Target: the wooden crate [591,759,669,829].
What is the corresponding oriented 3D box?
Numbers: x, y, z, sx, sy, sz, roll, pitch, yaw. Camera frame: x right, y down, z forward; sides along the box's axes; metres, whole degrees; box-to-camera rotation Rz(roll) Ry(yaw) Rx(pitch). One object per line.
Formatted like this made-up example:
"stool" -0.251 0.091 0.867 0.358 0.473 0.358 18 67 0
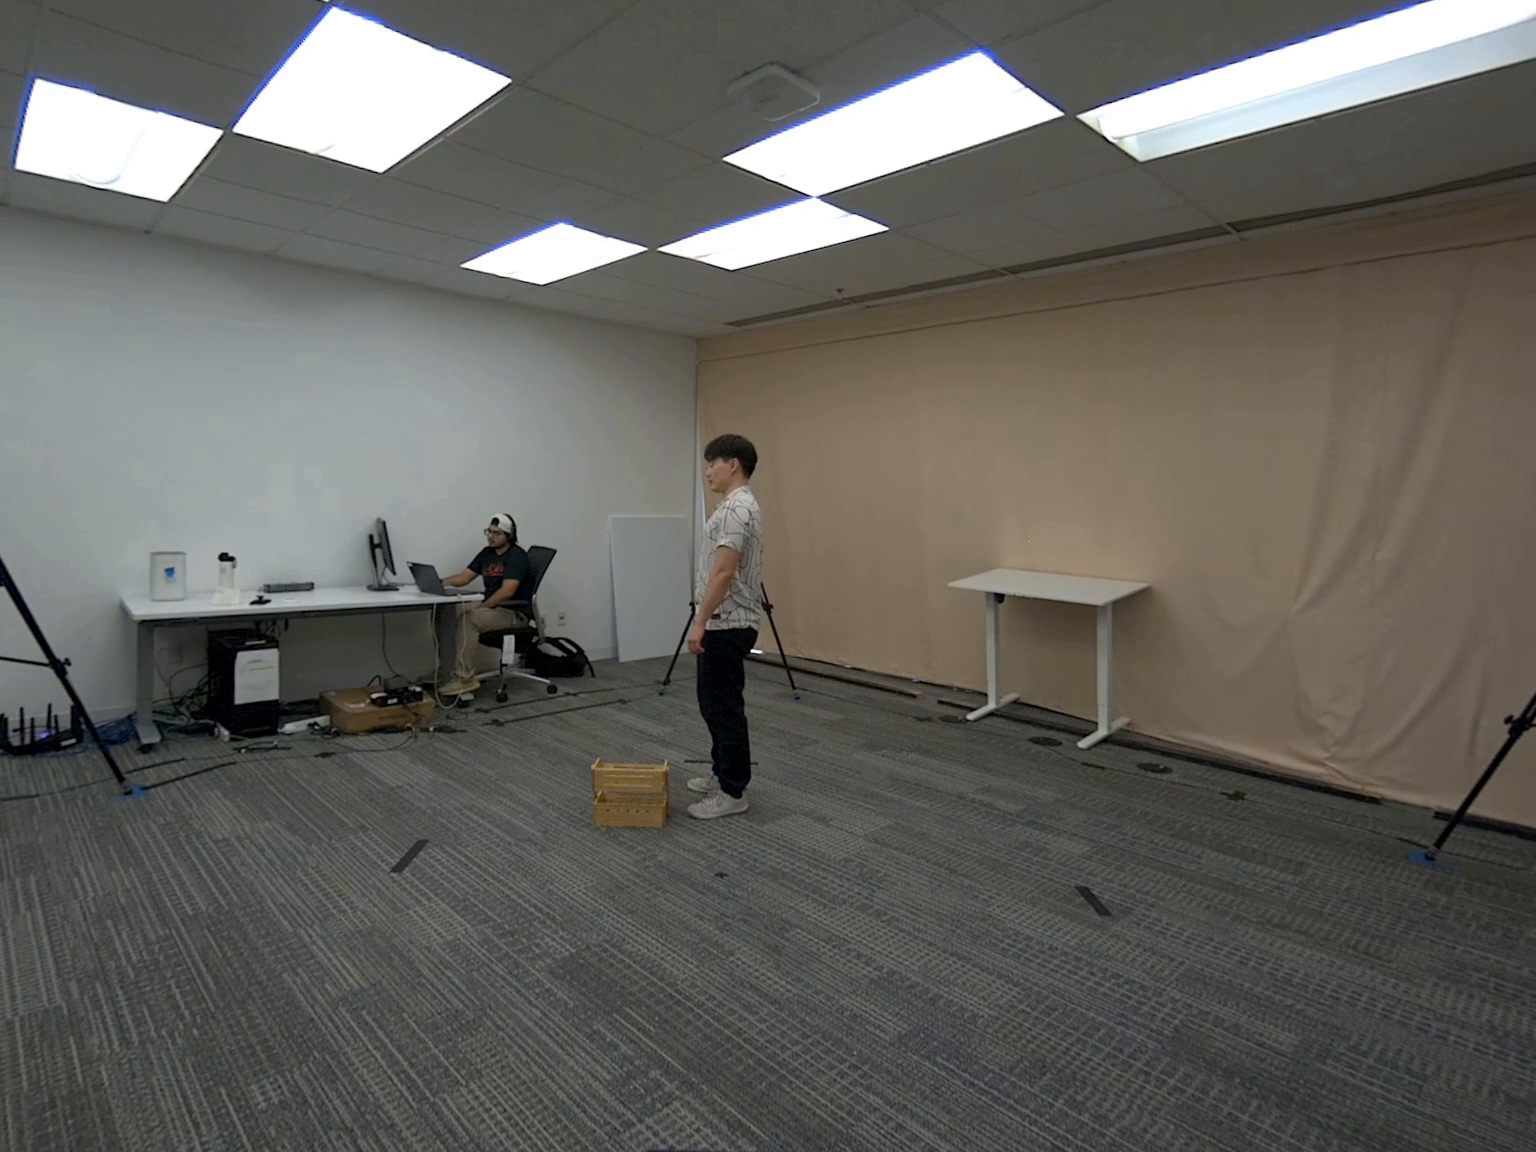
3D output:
"wooden crate" -0.596 0.913 3.636 0.324 0.272 0.303 2 4 -2
